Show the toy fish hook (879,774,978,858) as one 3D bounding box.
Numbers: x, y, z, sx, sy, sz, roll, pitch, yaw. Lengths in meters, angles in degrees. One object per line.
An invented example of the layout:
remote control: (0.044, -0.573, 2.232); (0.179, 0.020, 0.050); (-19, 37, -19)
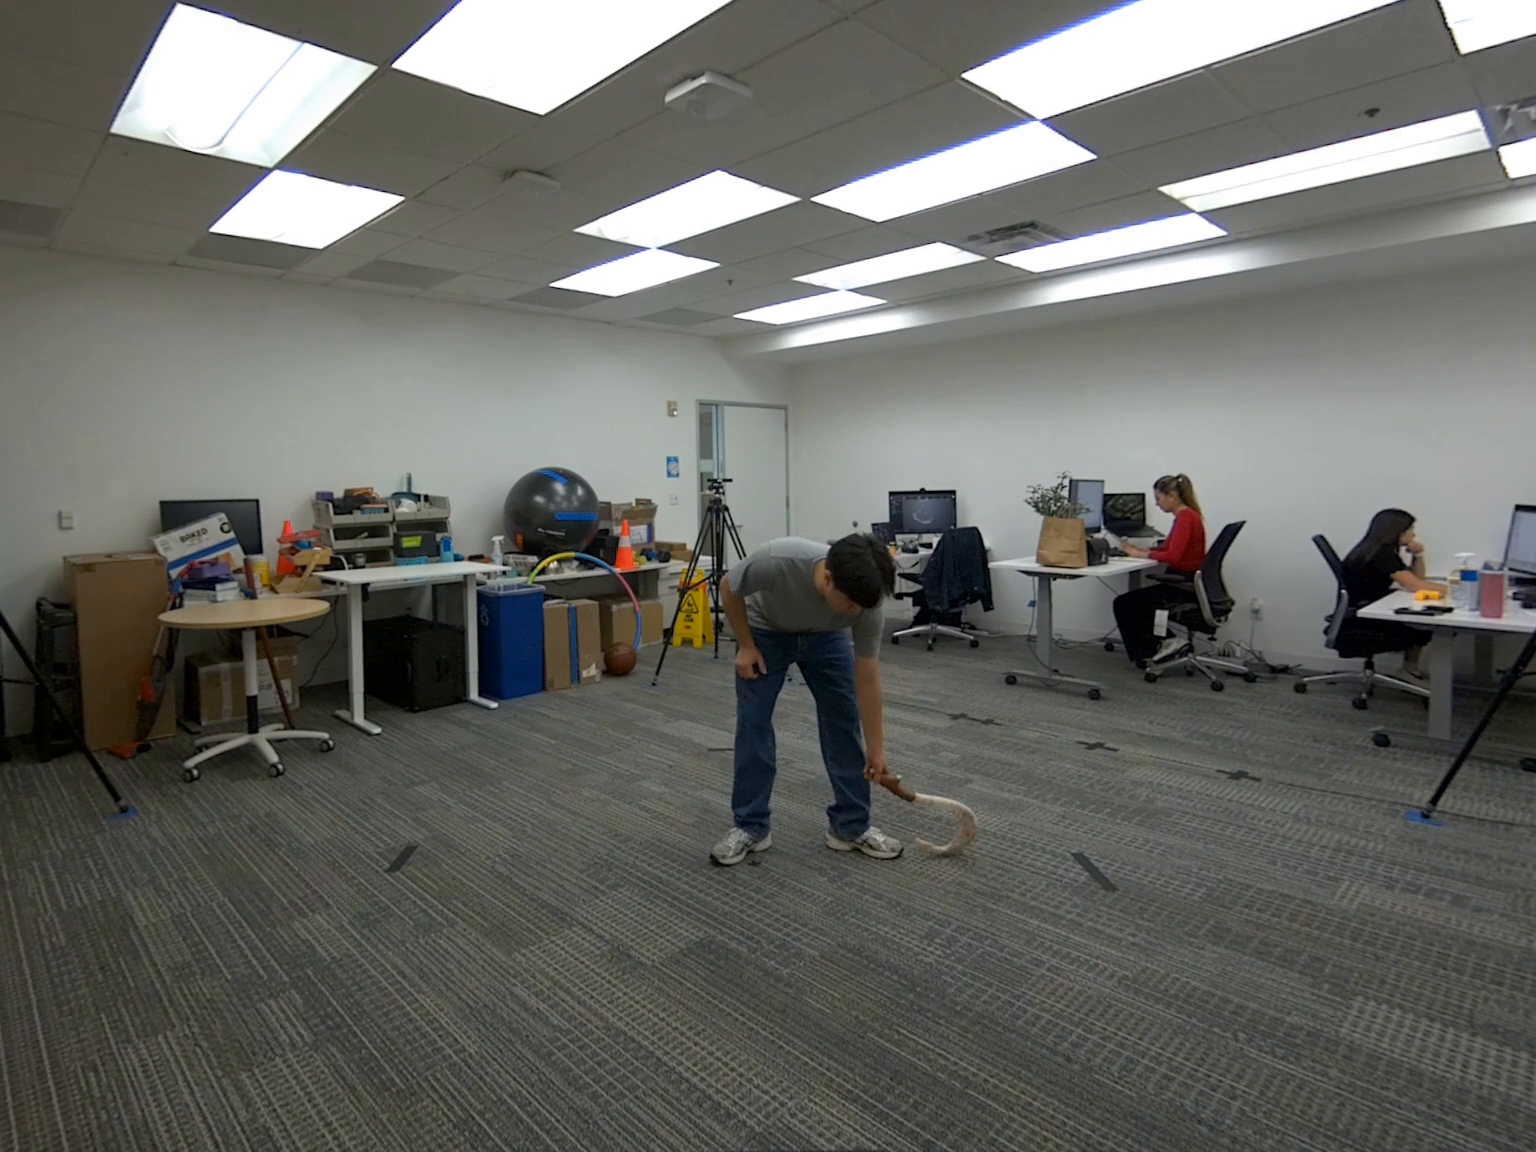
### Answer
toy fish hook: (0.531, 0.853, 3.095); (0.499, 0.224, 0.049); (31, 3, -11)
